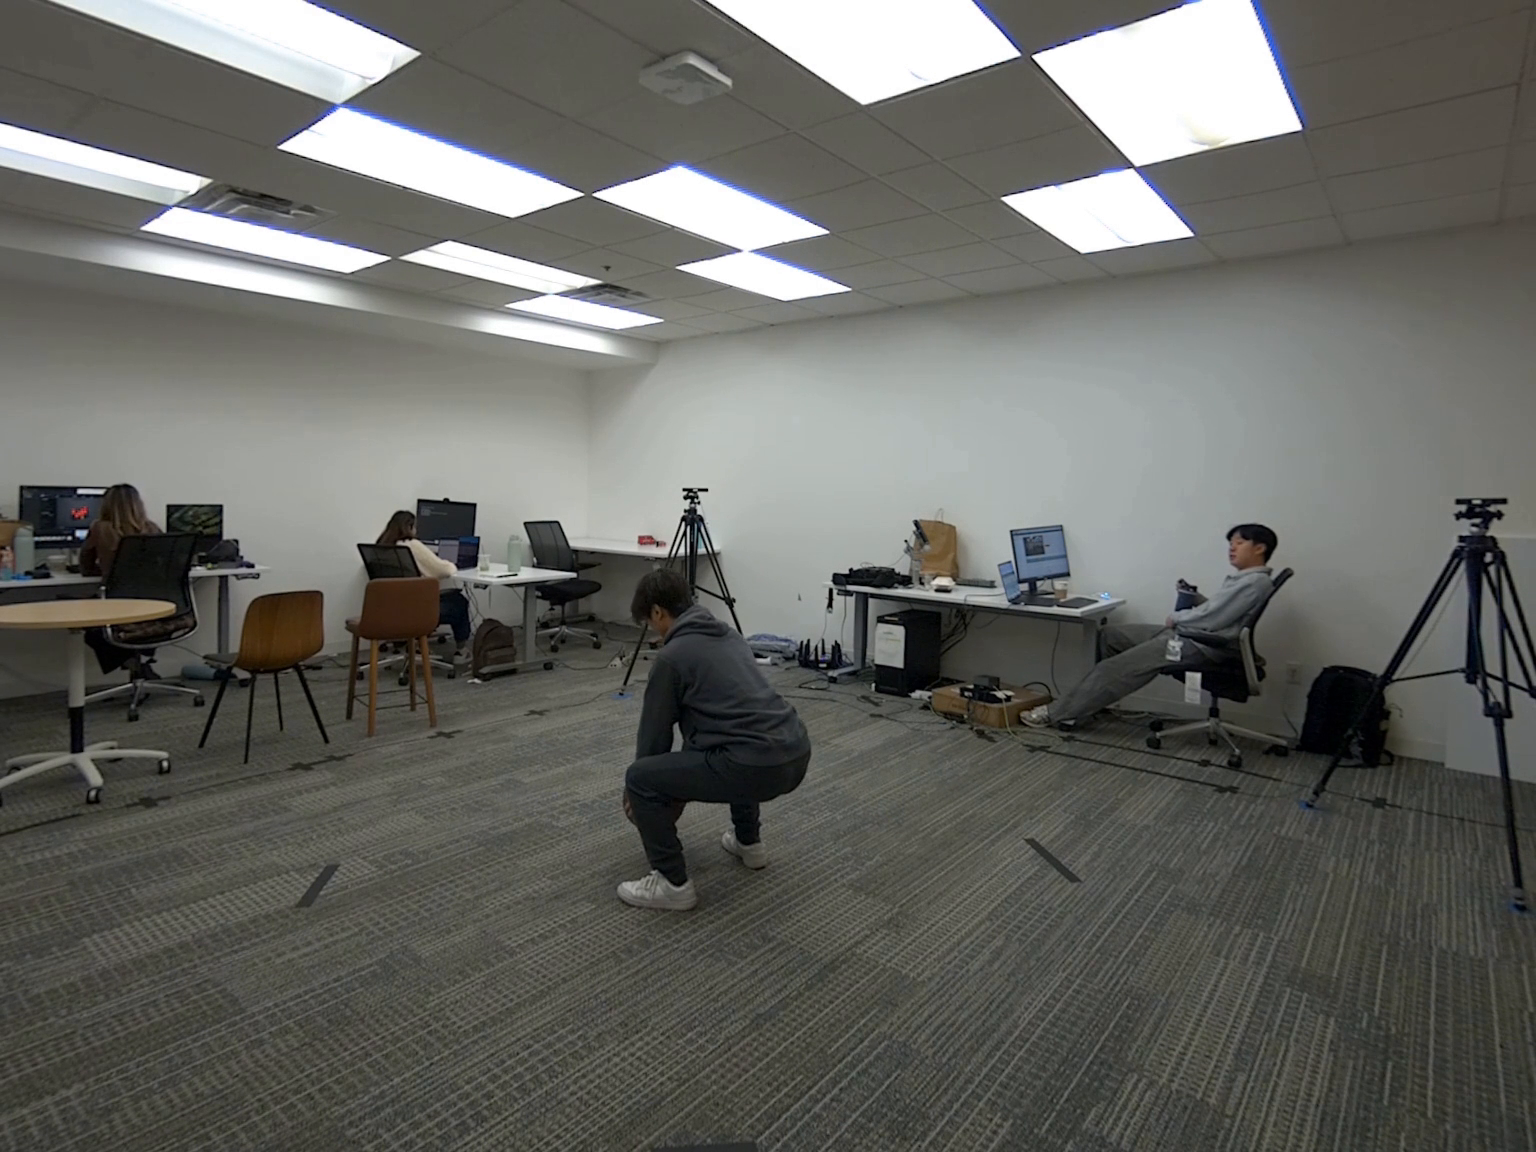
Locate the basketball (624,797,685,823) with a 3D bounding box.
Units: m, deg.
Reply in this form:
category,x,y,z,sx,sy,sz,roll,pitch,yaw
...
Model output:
category,x,y,z,sx,sy,sz,roll,pitch,yaw
basketball,-0.434,0.823,3.218,0.235,0.235,0.237,1,4,-2
